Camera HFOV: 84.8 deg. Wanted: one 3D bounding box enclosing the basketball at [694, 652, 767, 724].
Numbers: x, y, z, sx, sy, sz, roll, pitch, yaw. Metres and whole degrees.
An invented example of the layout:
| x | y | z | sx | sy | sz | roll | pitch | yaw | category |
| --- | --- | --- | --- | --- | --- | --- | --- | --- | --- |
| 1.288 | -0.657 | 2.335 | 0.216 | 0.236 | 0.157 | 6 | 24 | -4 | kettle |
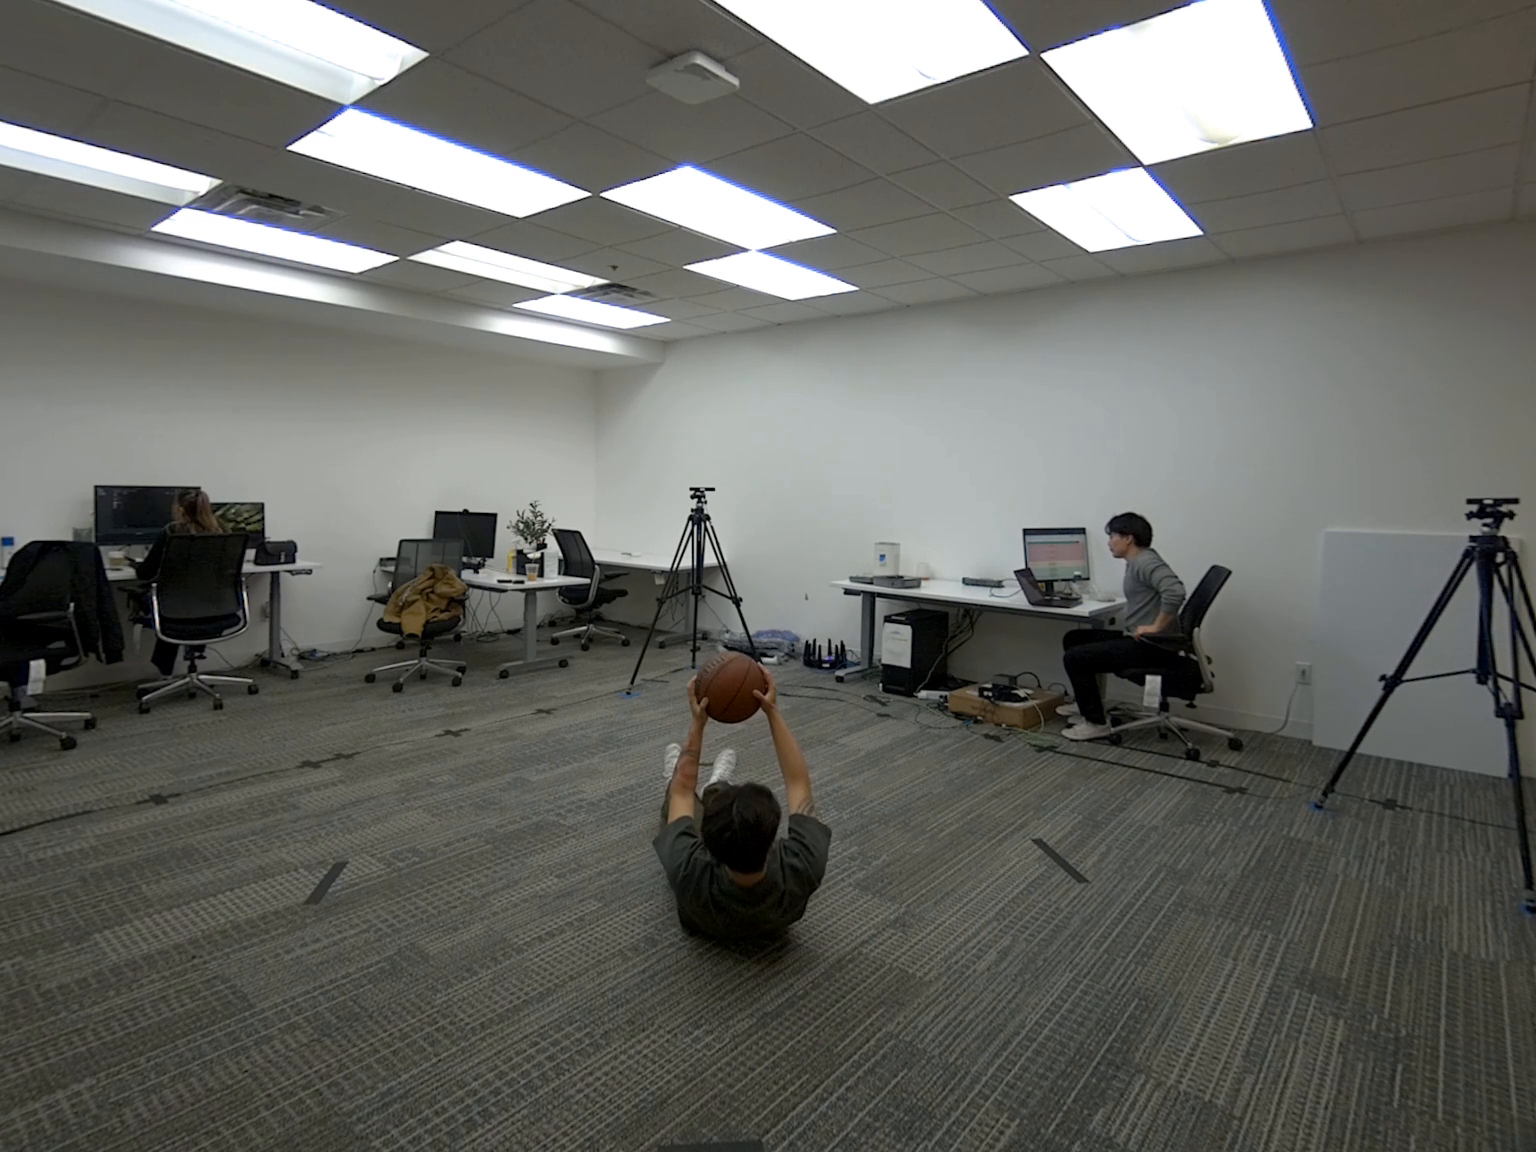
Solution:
| x | y | z | sx | sy | sz | roll | pitch | yaw | category |
| --- | --- | --- | --- | --- | --- | --- | --- | --- | --- |
| -0.126 | 0.379 | 2.828 | 0.235 | 0.235 | 0.237 | 1 | 4 | -2 | basketball |
